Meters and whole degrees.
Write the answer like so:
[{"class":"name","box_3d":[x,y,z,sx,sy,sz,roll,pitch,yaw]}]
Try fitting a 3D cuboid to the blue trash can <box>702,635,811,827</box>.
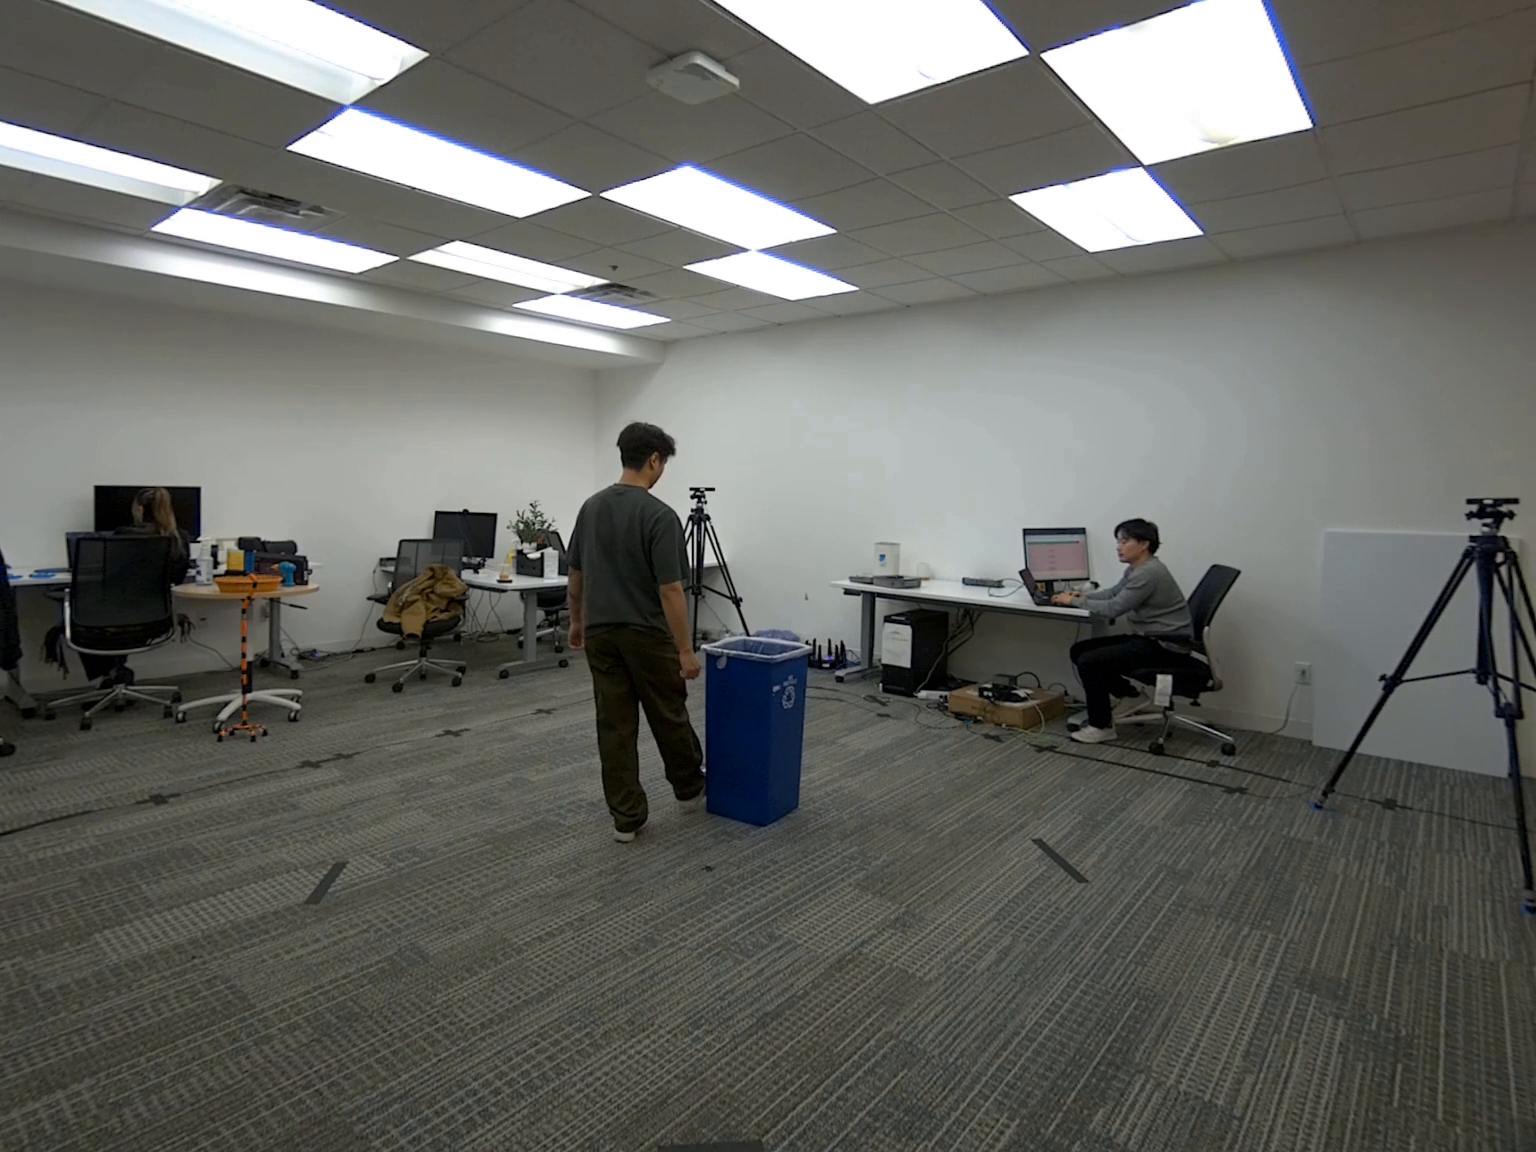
[{"class":"blue trash can","box_3d":[-0.065,0.656,3.687,0.385,0.711,0.368,4,4,30]}]
